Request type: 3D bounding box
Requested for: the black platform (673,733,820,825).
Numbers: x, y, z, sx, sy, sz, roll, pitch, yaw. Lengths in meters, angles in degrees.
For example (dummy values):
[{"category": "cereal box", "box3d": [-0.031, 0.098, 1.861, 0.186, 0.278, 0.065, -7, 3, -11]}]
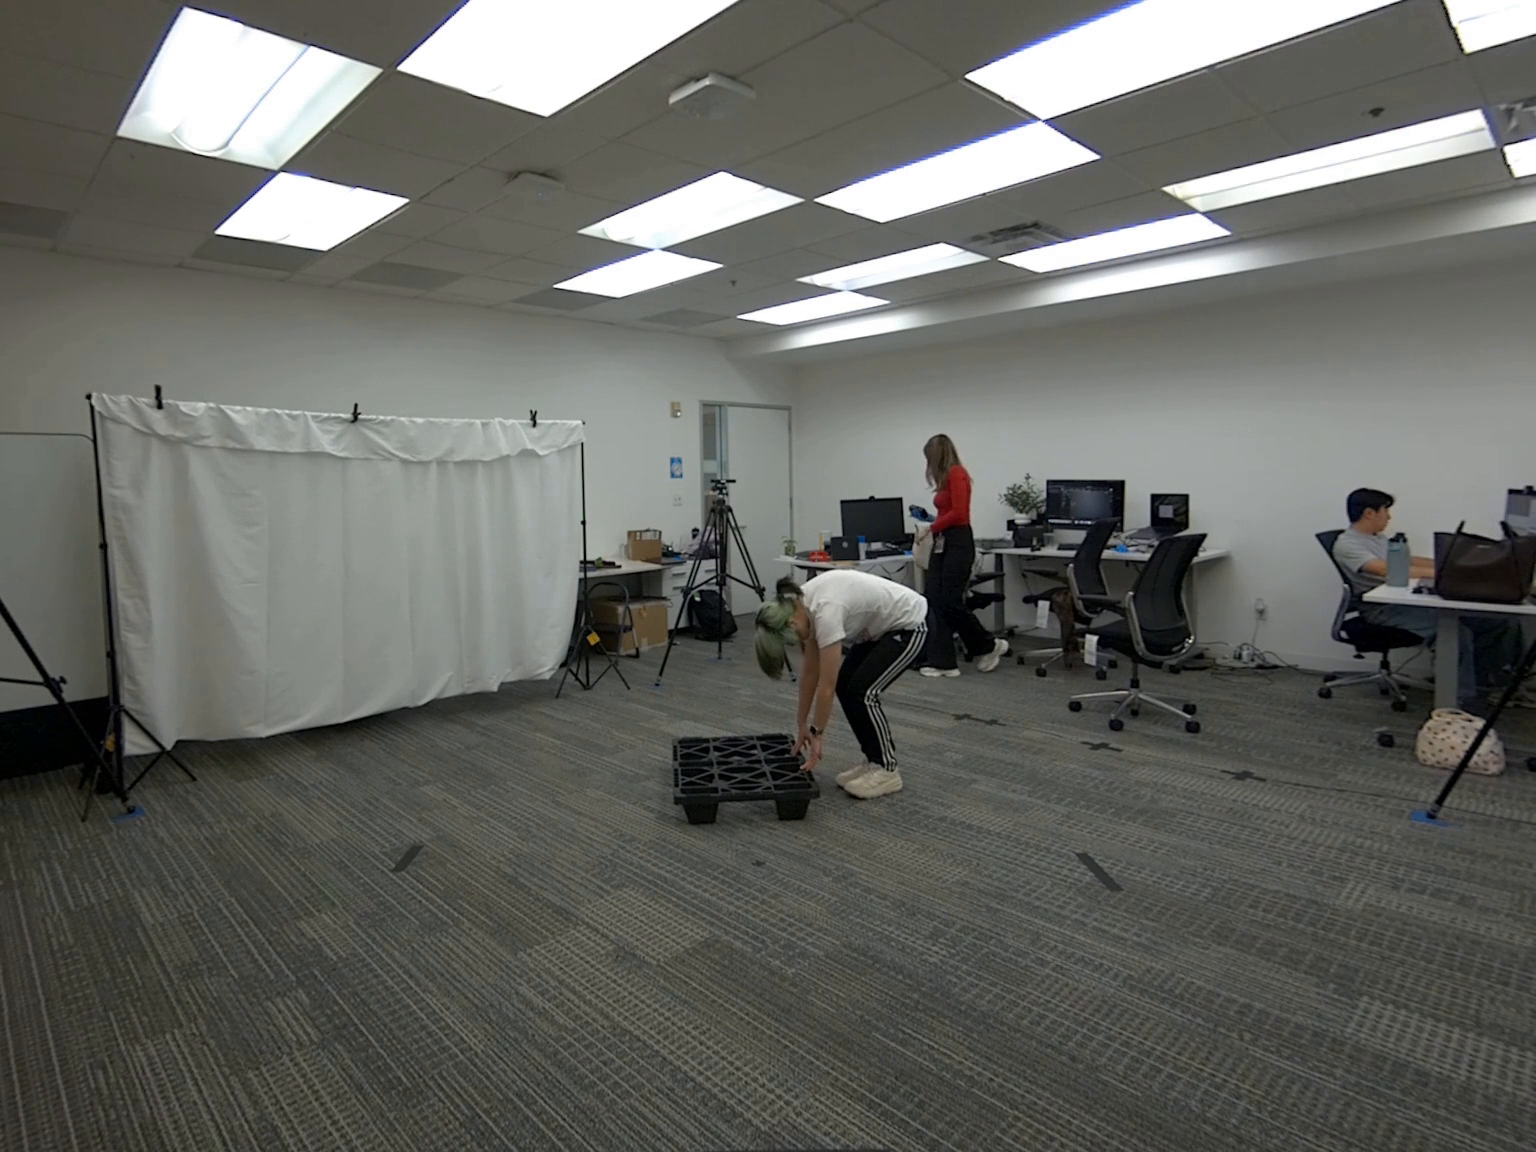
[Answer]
[{"category": "black platform", "box3d": [-0.125, 0.897, 3.849, 0.602, 0.143, 0.813, -1, 6, -6]}]
